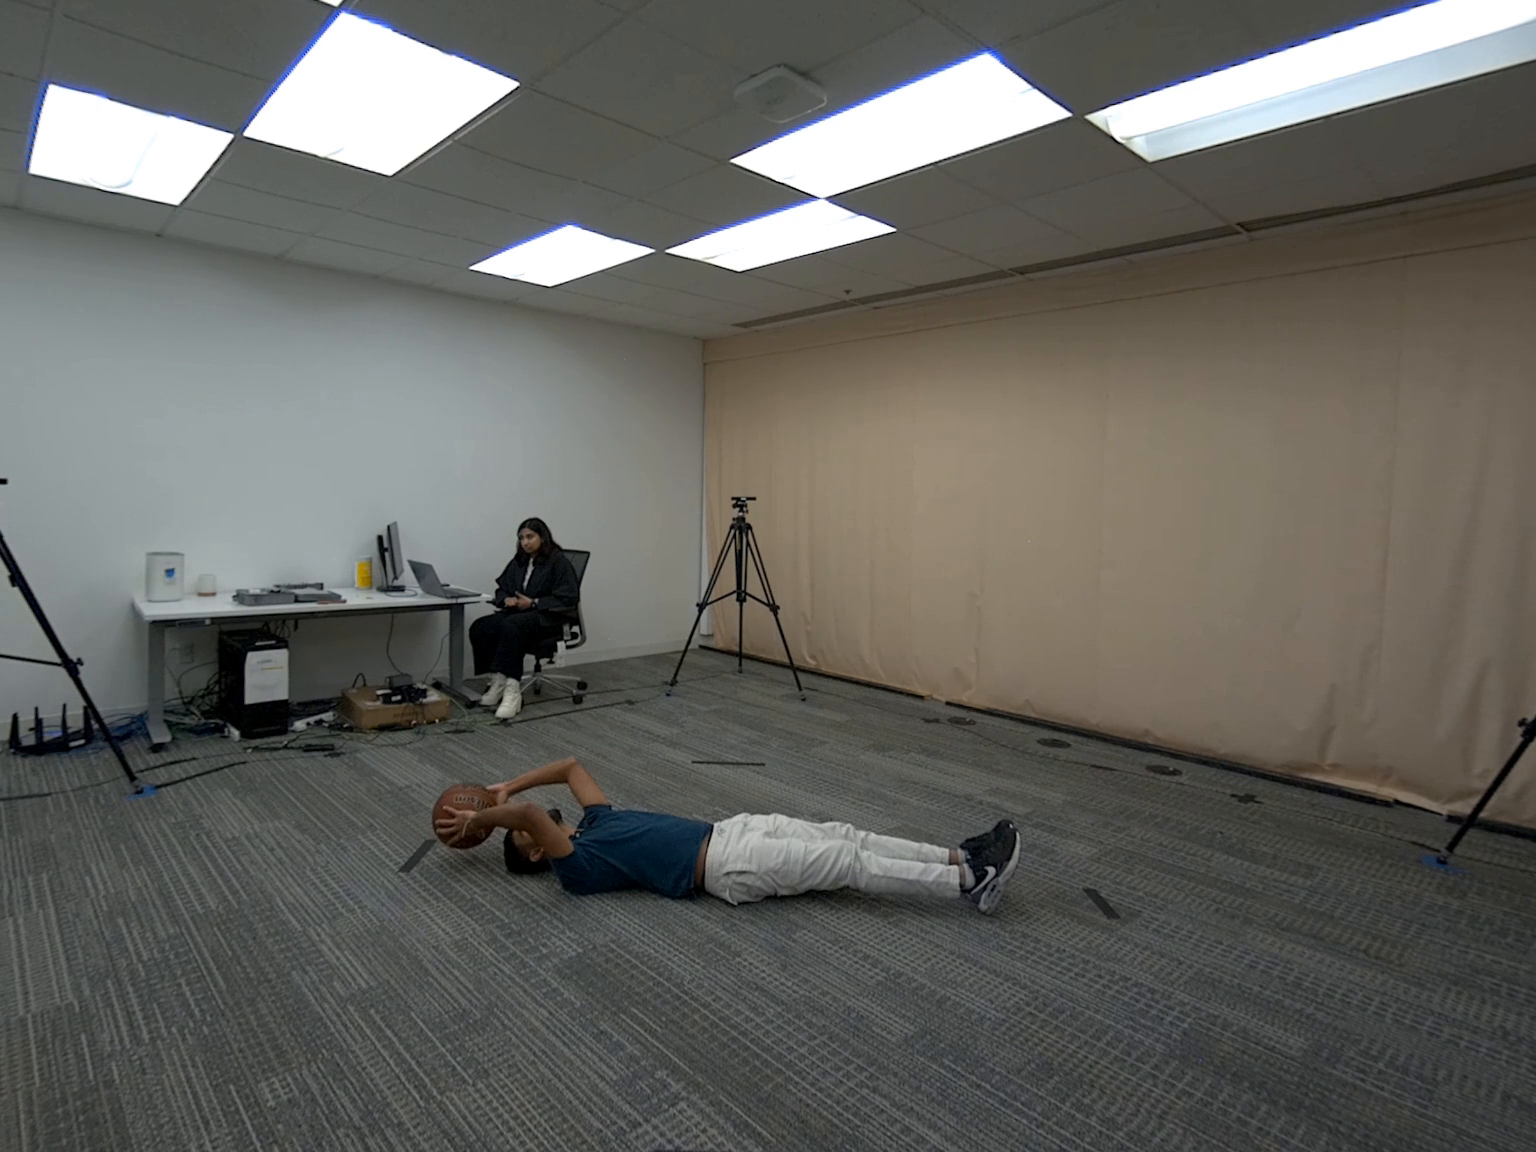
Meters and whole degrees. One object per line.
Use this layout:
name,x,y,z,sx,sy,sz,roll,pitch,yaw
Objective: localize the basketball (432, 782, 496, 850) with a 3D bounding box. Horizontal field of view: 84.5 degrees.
basketball,-1.142,0.893,3.154,0.236,0.235,0.237,1,4,-1
